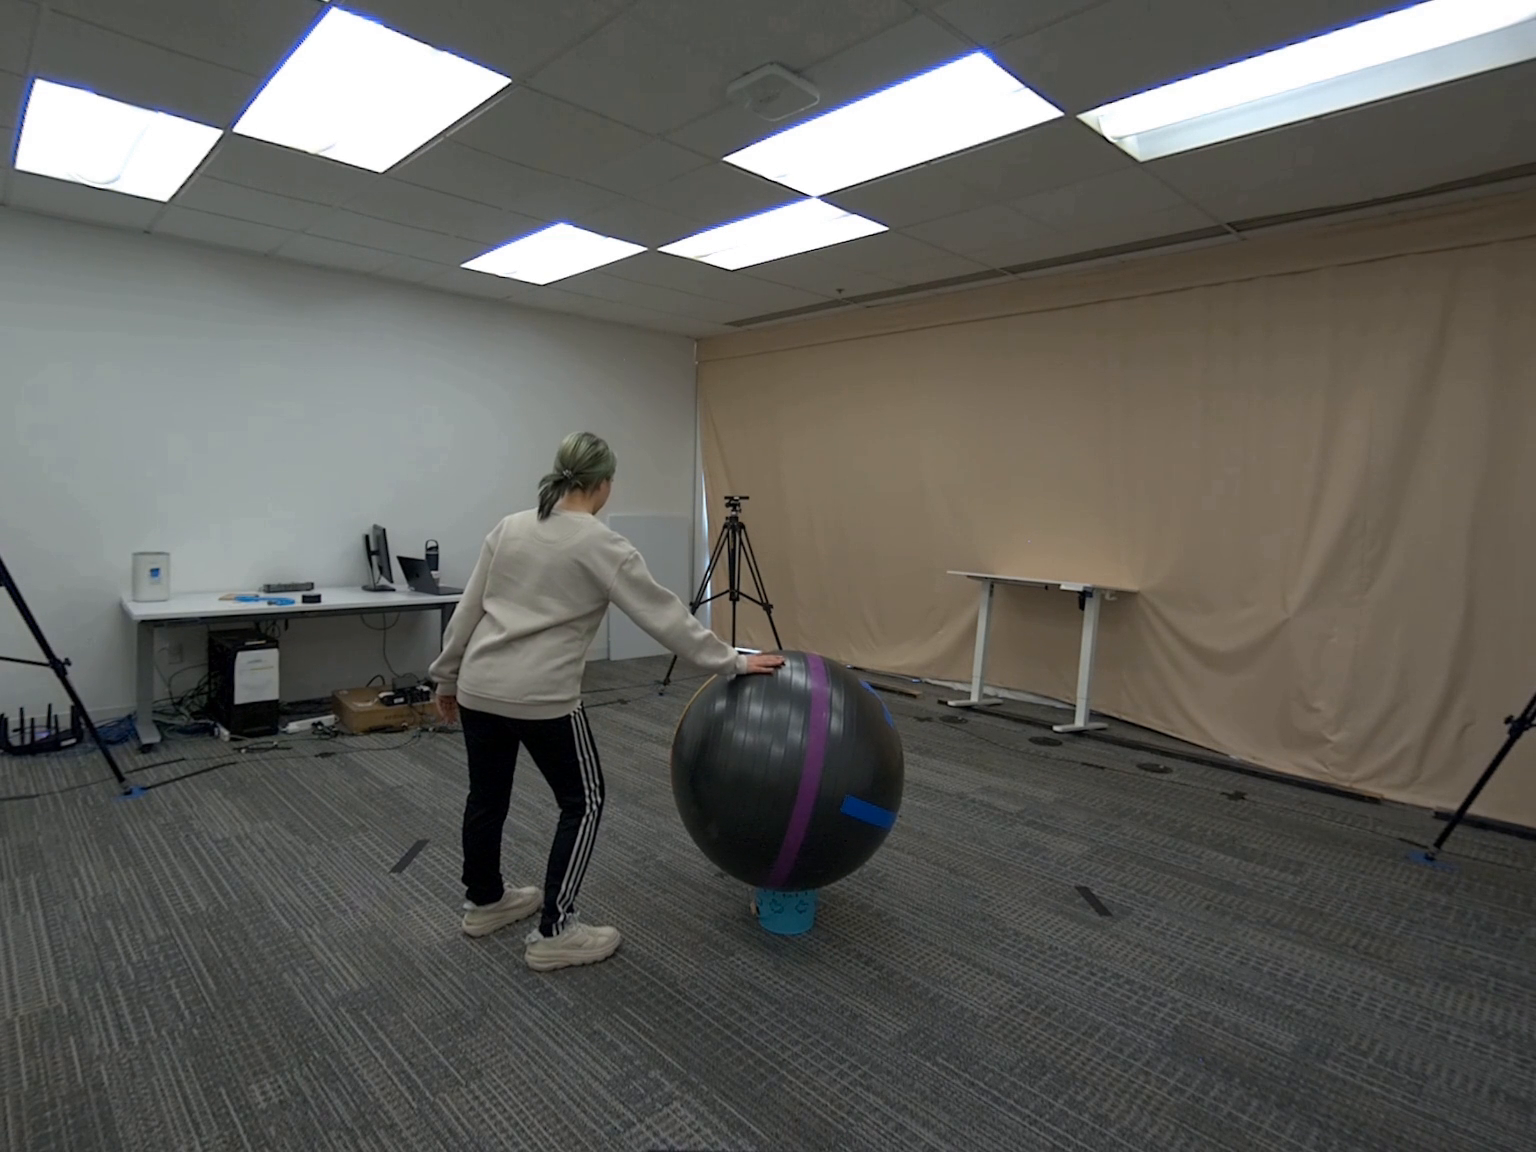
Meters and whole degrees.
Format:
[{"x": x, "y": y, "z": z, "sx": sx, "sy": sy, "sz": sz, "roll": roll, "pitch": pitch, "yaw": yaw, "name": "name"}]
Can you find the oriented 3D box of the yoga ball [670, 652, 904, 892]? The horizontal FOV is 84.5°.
[{"x": 0.056, "y": 0.629, "z": 2.756, "sx": 0.757, "sy": 0.756, "sz": 0.761, "roll": 1, "pitch": 4, "yaw": -1, "name": "yoga ball"}]
